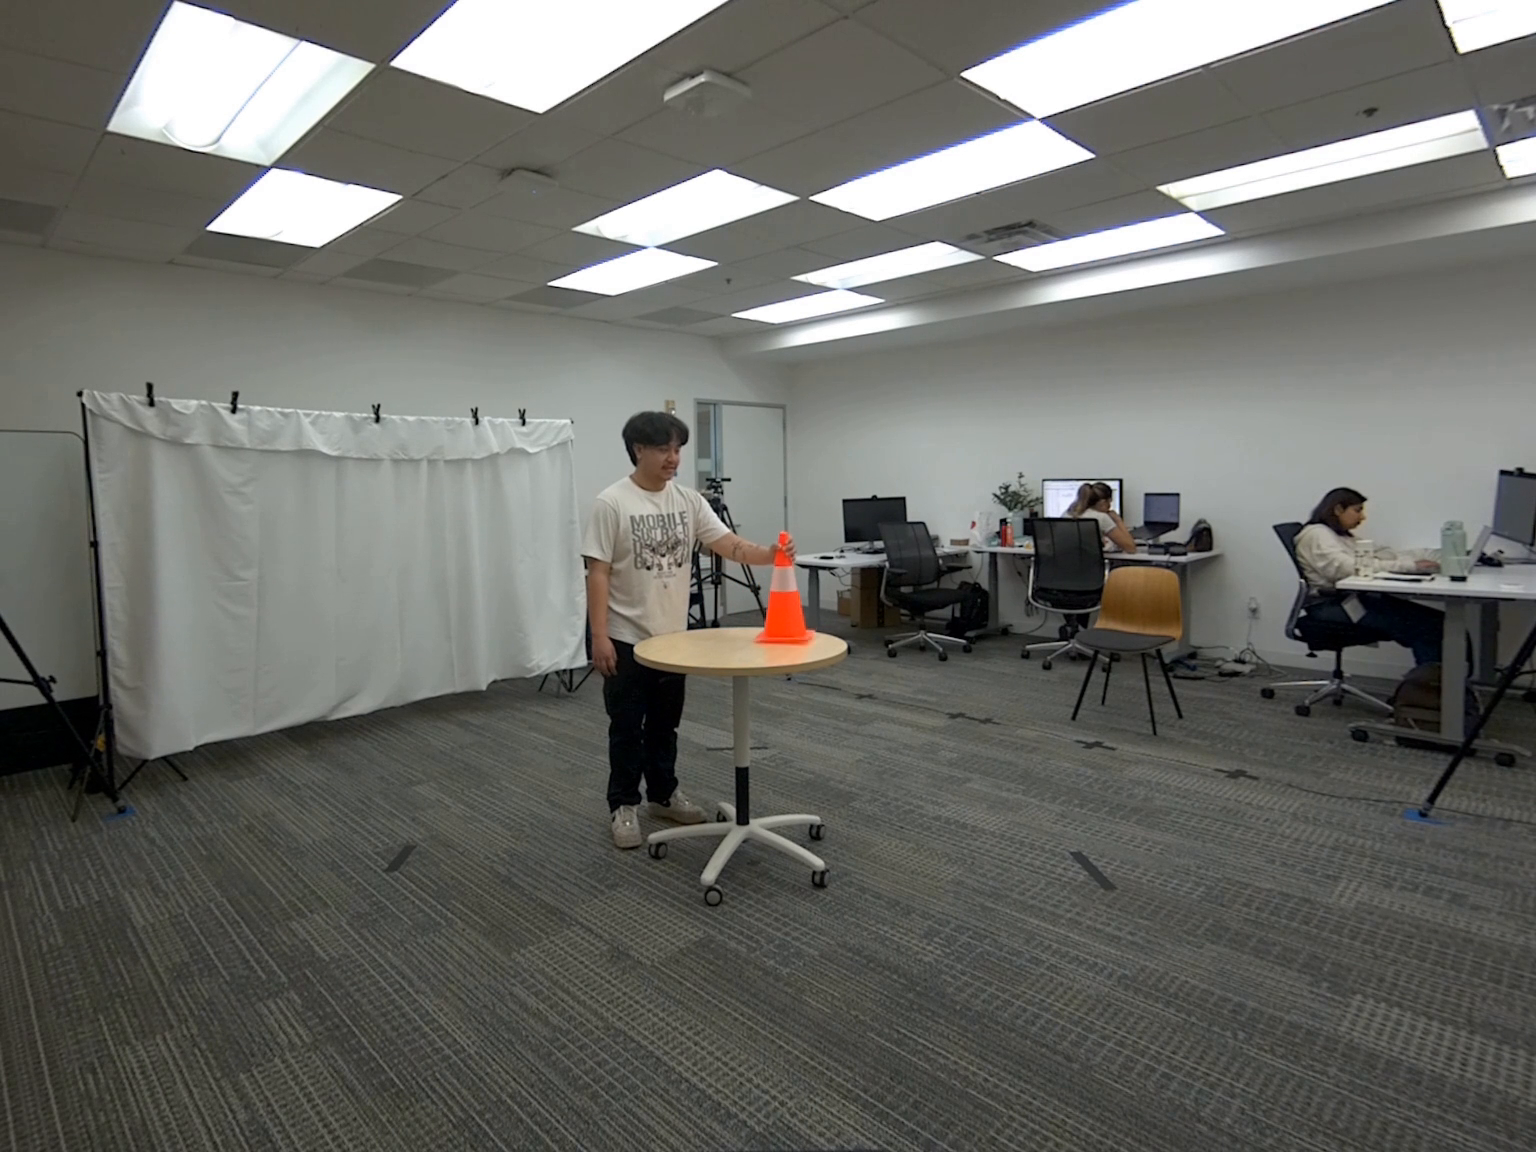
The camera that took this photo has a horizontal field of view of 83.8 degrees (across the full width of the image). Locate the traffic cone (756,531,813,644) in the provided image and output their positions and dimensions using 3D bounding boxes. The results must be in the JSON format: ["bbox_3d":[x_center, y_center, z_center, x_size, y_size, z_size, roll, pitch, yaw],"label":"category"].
[{"bbox_3d":[0.057,0.033,3.149,0.206,0.382,0.203,-1,5,15],"label":"traffic cone"}]
